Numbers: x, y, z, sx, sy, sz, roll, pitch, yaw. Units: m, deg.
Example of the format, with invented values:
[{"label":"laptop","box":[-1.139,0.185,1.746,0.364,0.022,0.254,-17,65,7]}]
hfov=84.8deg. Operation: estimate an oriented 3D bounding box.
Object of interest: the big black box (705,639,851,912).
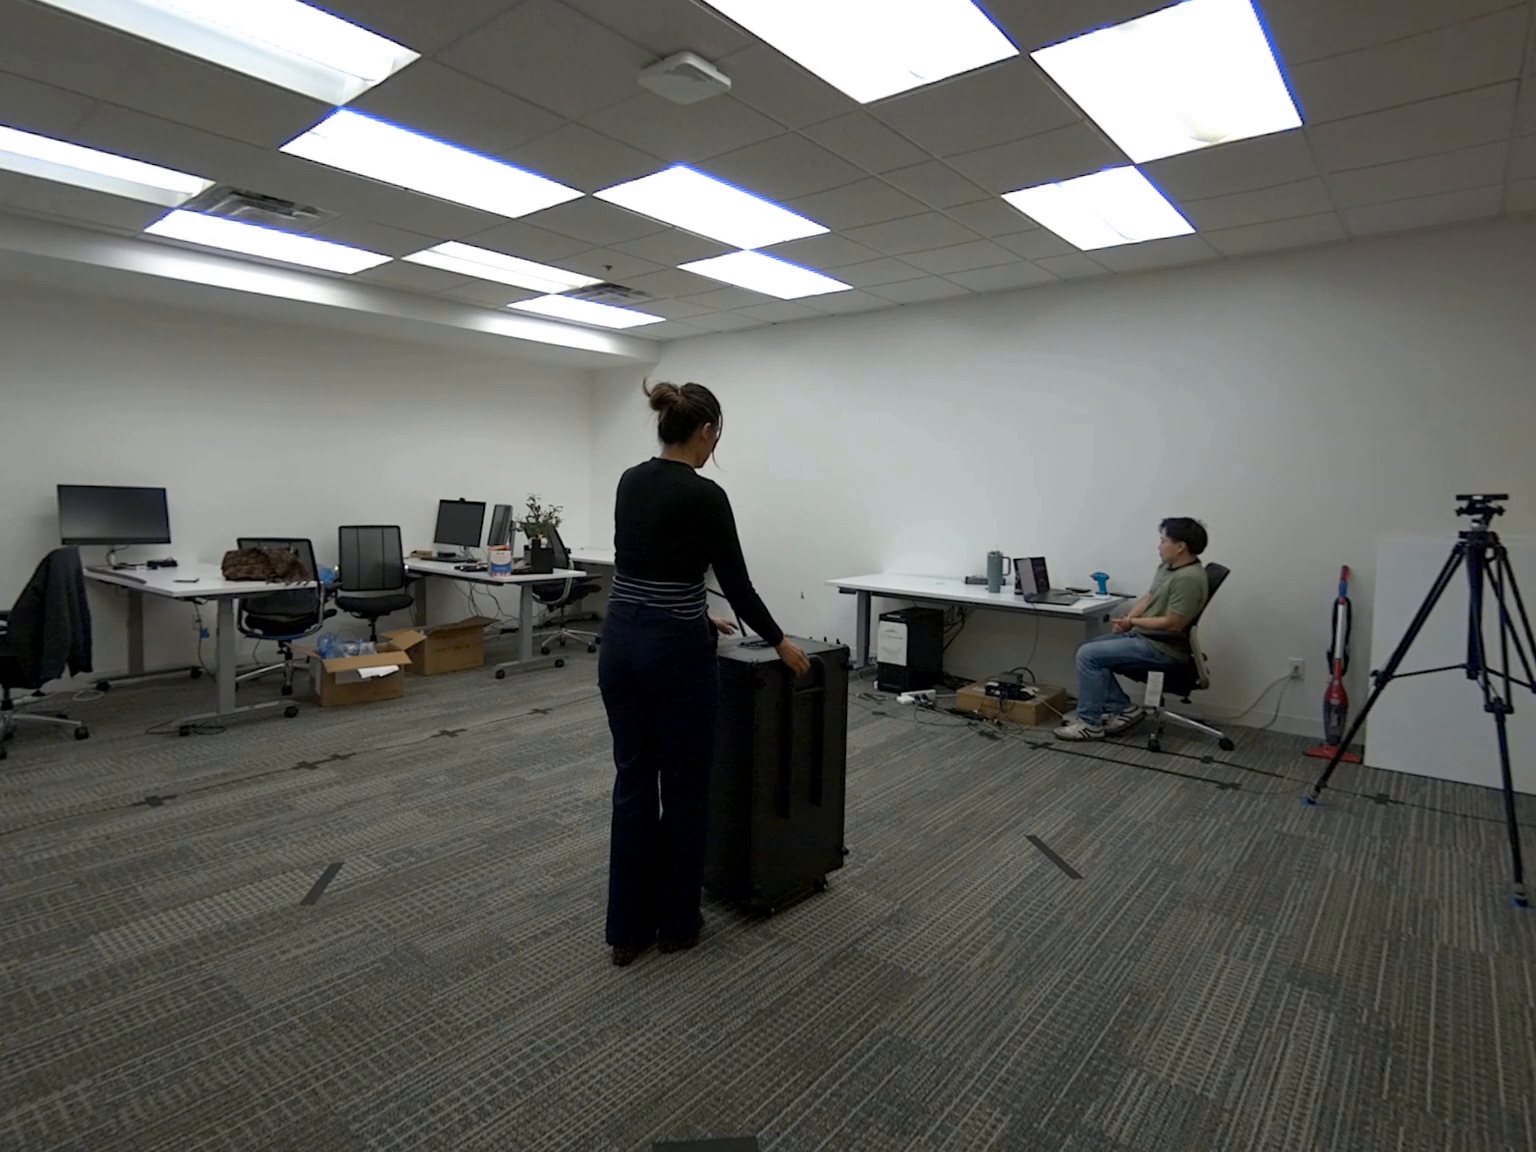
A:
[{"label":"big black box","box":[-0.019,0.603,2.933,0.410,0.859,0.505,5,4,44]}]
